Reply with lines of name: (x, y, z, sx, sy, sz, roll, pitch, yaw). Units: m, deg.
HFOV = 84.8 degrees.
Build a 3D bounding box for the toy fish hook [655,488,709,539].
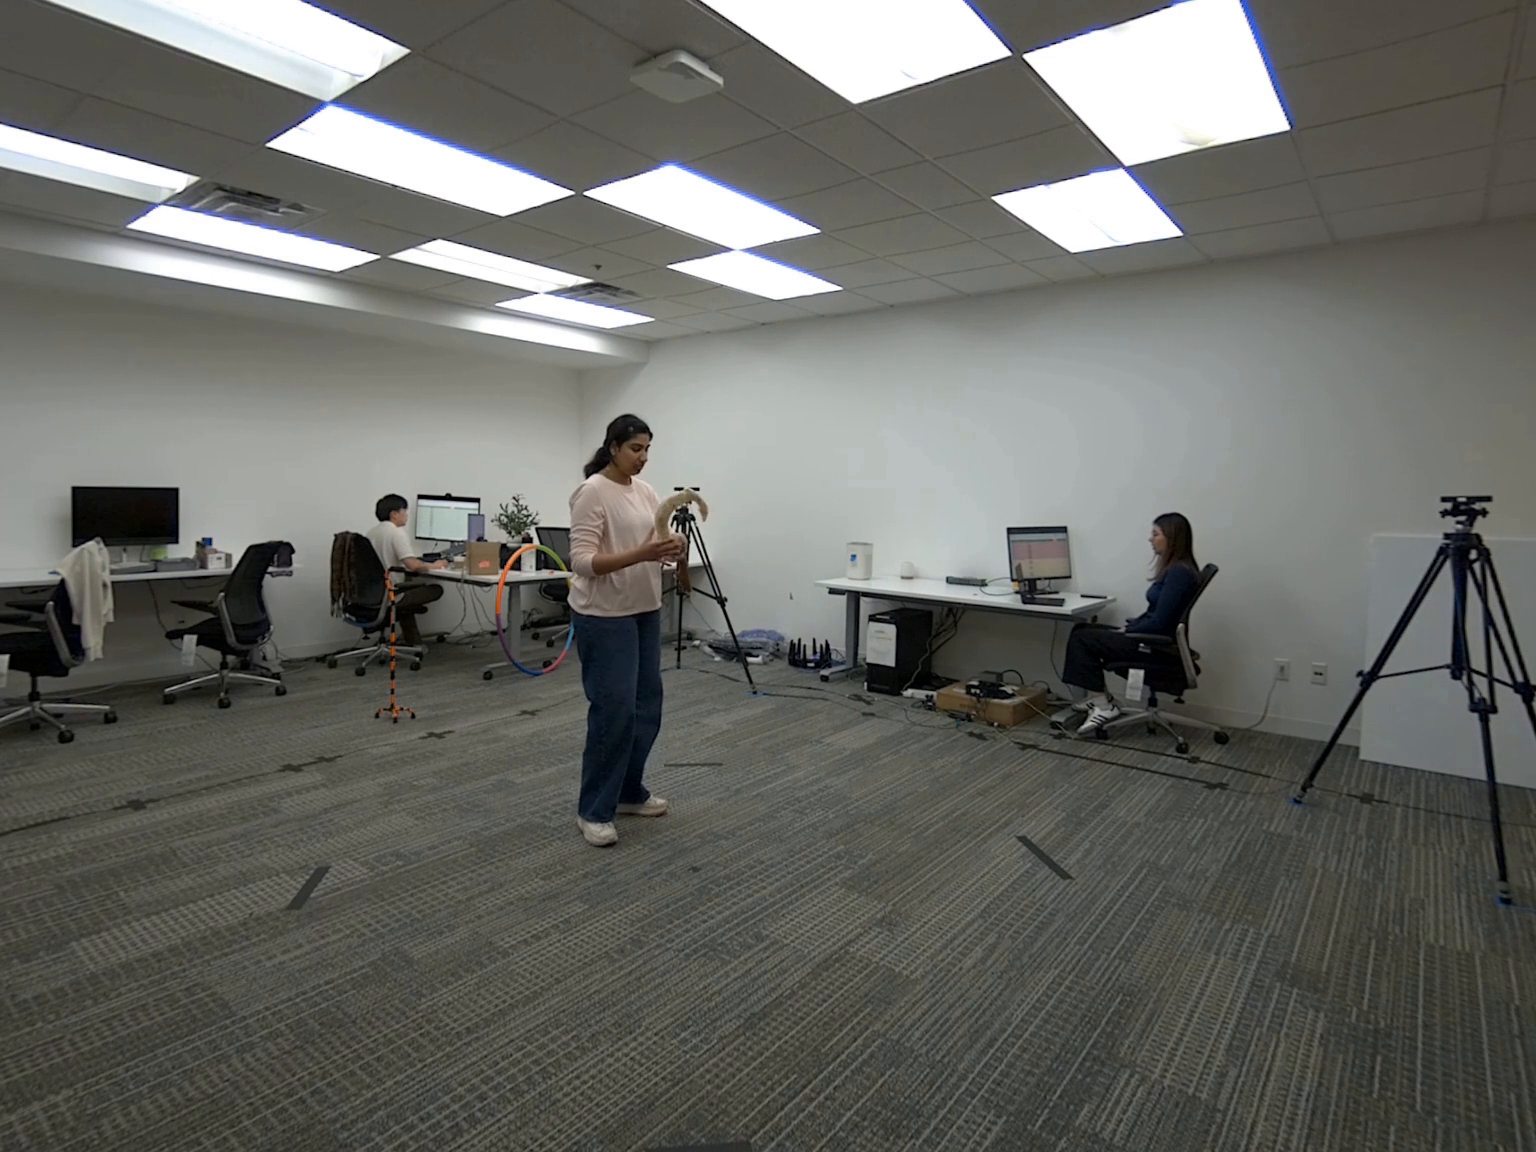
toy fish hook: (-0.324, -0.125, 3.335, 0.223, 0.490, 0.050, -25, 46, -16)
